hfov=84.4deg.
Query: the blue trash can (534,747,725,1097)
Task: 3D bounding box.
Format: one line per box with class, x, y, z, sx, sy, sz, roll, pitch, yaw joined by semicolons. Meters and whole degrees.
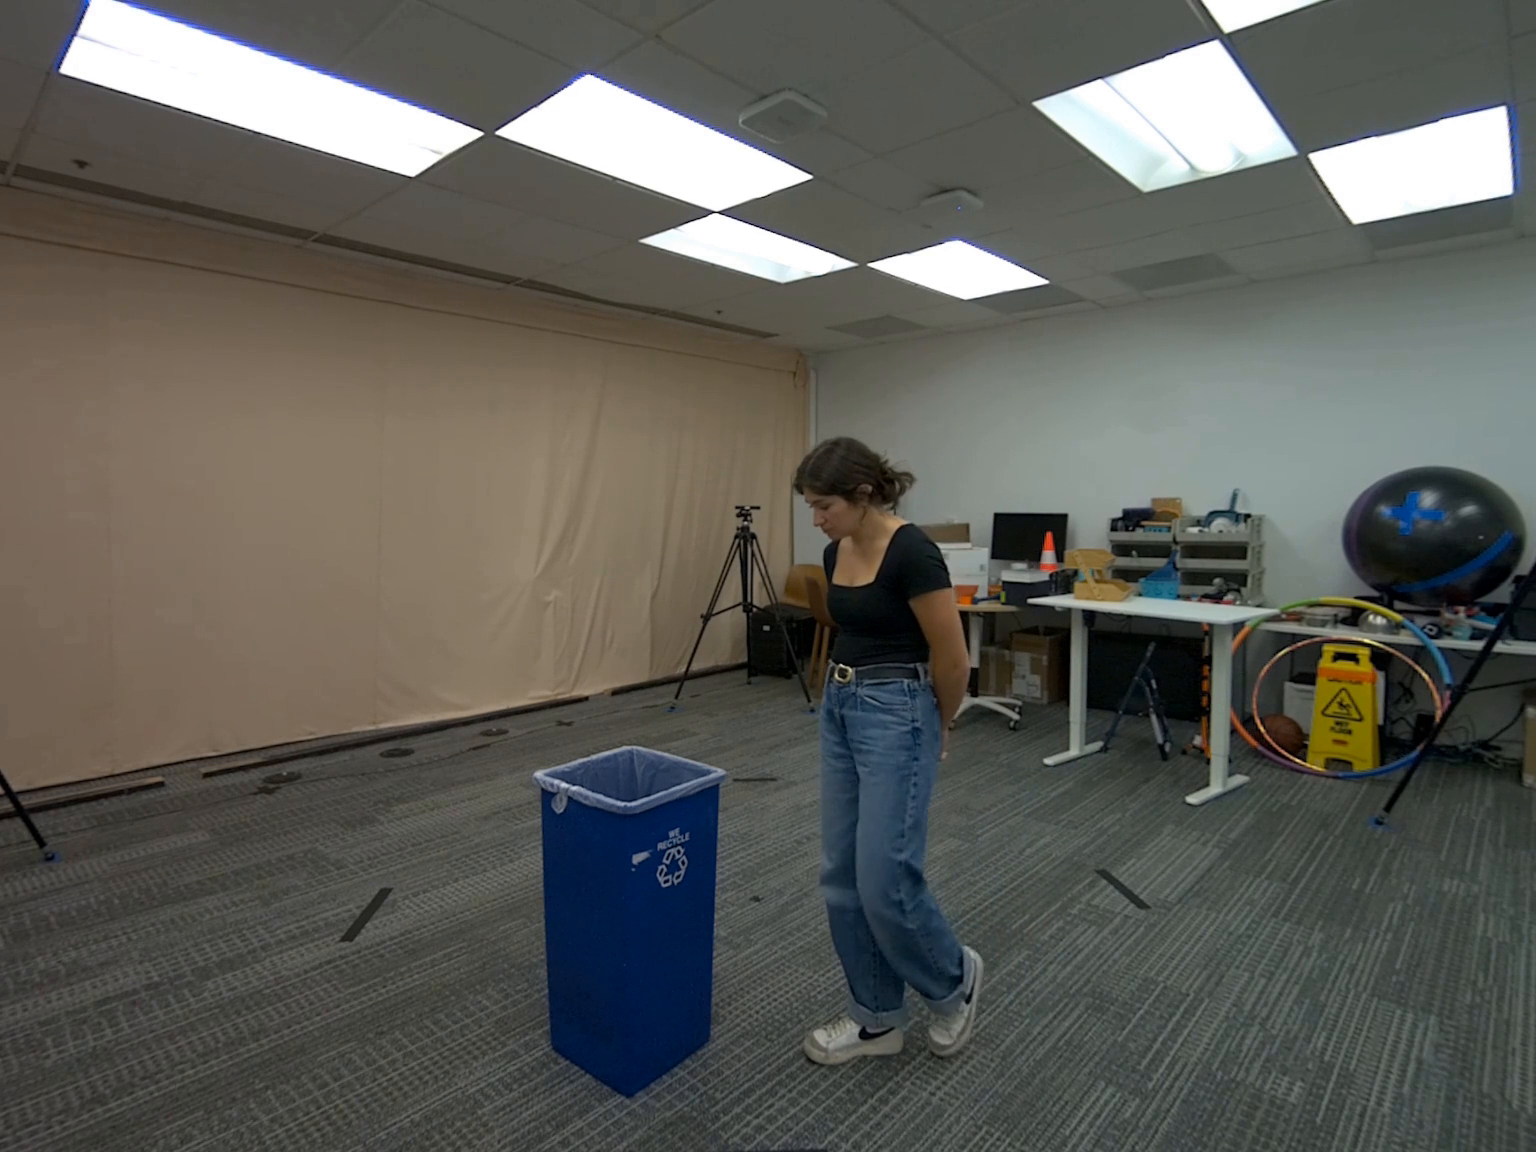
blue trash can;-0.362;0.858;2.168;0.386;0.712;0.366;3;4;39
